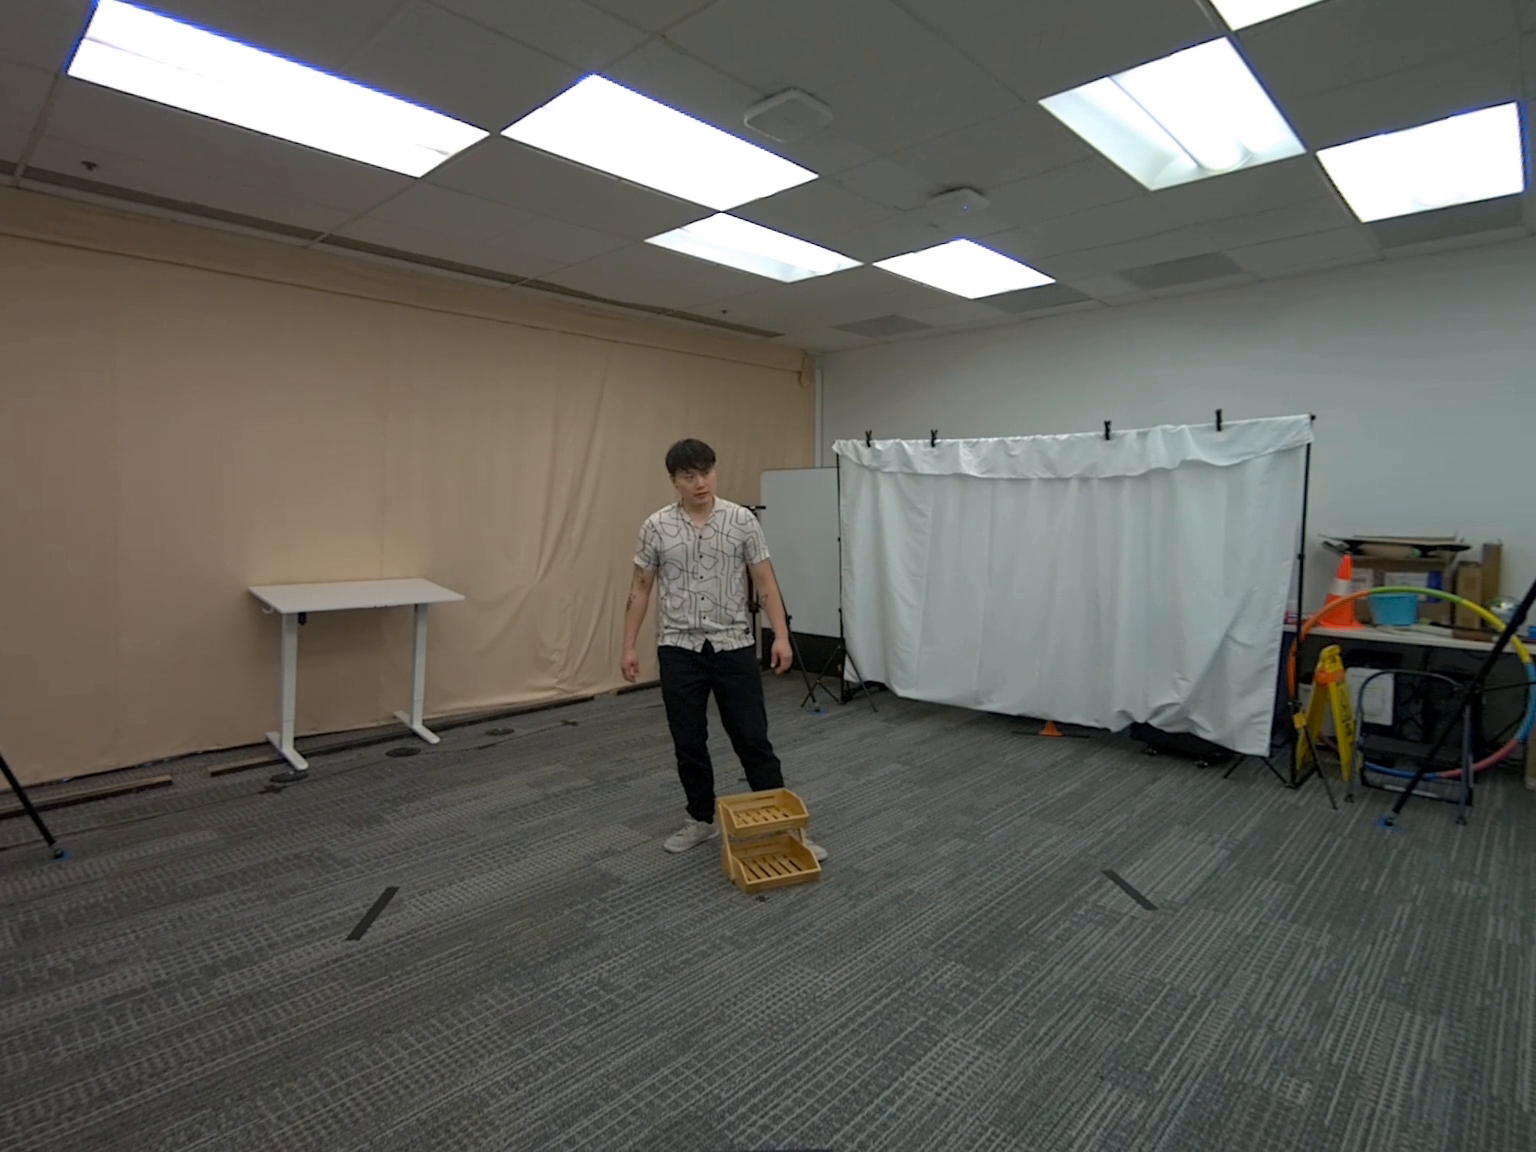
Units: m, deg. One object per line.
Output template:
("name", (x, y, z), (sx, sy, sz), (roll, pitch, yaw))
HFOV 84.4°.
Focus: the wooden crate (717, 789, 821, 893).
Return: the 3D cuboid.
("wooden crate", (-0.001, 0.991, 3.181), (0.317, 0.273, 0.309), (-3, 4, -24))
